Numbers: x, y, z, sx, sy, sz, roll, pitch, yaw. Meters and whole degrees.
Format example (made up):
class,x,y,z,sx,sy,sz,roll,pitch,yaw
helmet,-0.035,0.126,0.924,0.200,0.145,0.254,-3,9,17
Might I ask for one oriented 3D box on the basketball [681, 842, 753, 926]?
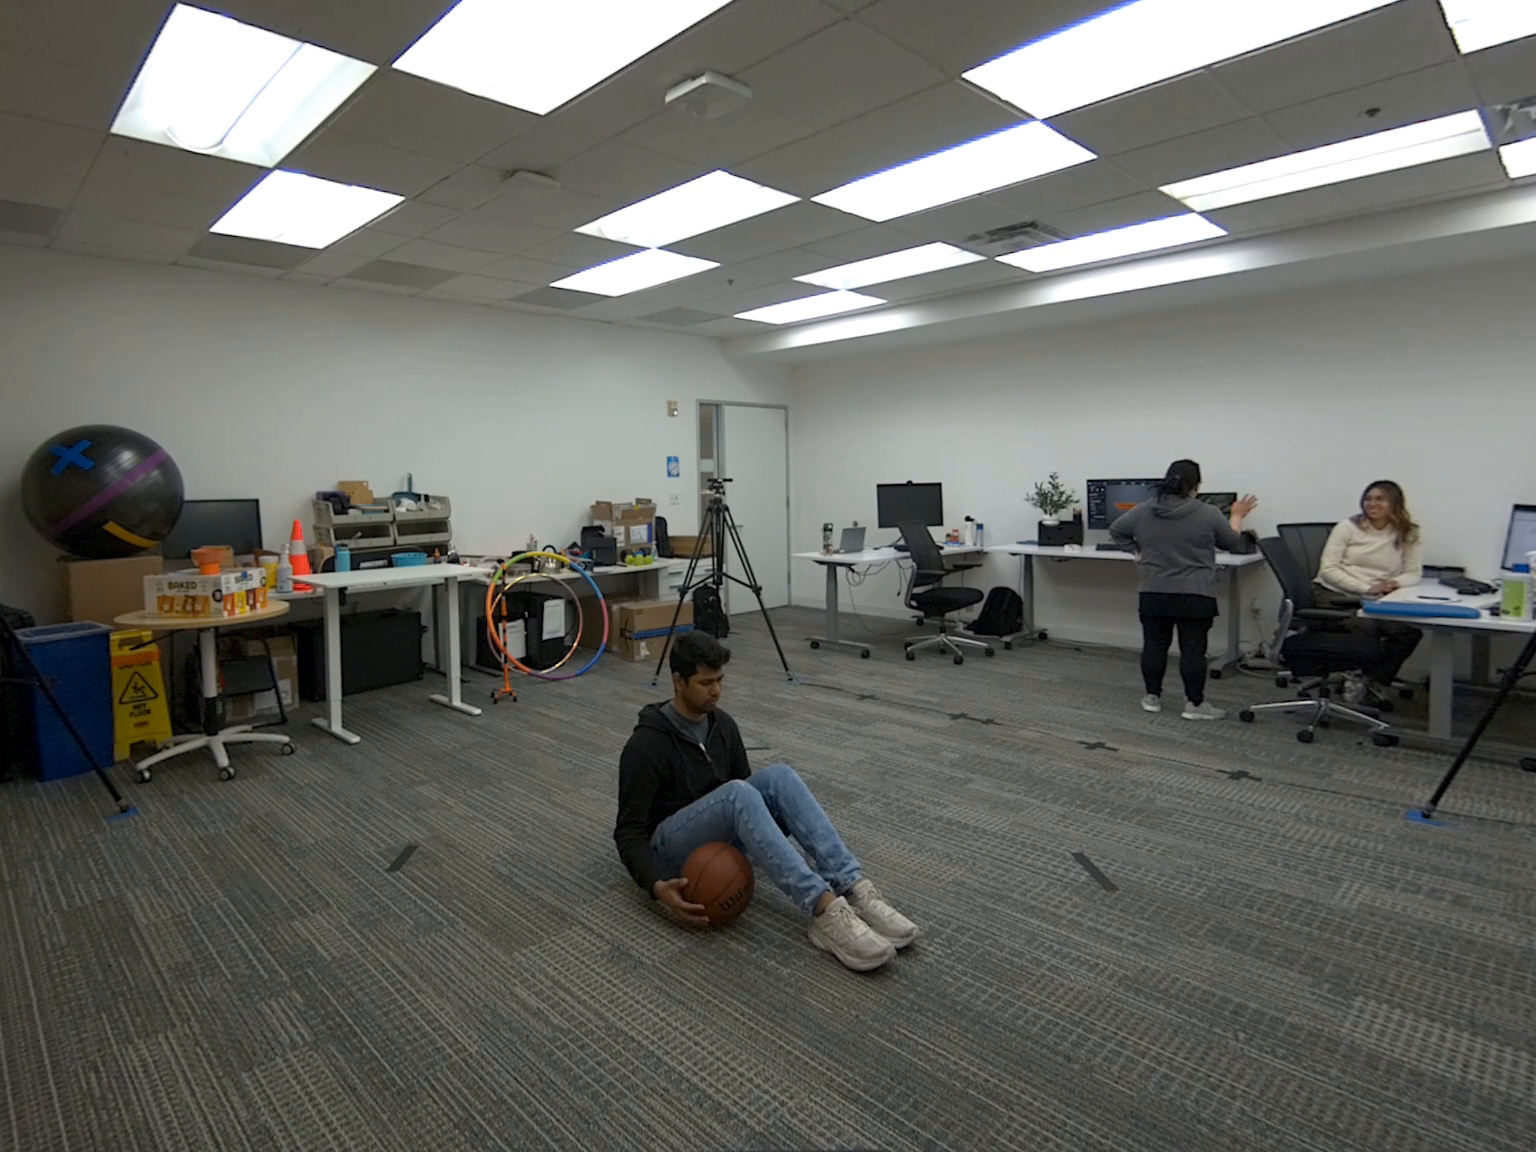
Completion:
class,x,y,z,sx,sy,sz,roll,pitch,yaw
basketball,-0.157,0.960,2.701,0.236,0.235,0.237,-1,5,-2
